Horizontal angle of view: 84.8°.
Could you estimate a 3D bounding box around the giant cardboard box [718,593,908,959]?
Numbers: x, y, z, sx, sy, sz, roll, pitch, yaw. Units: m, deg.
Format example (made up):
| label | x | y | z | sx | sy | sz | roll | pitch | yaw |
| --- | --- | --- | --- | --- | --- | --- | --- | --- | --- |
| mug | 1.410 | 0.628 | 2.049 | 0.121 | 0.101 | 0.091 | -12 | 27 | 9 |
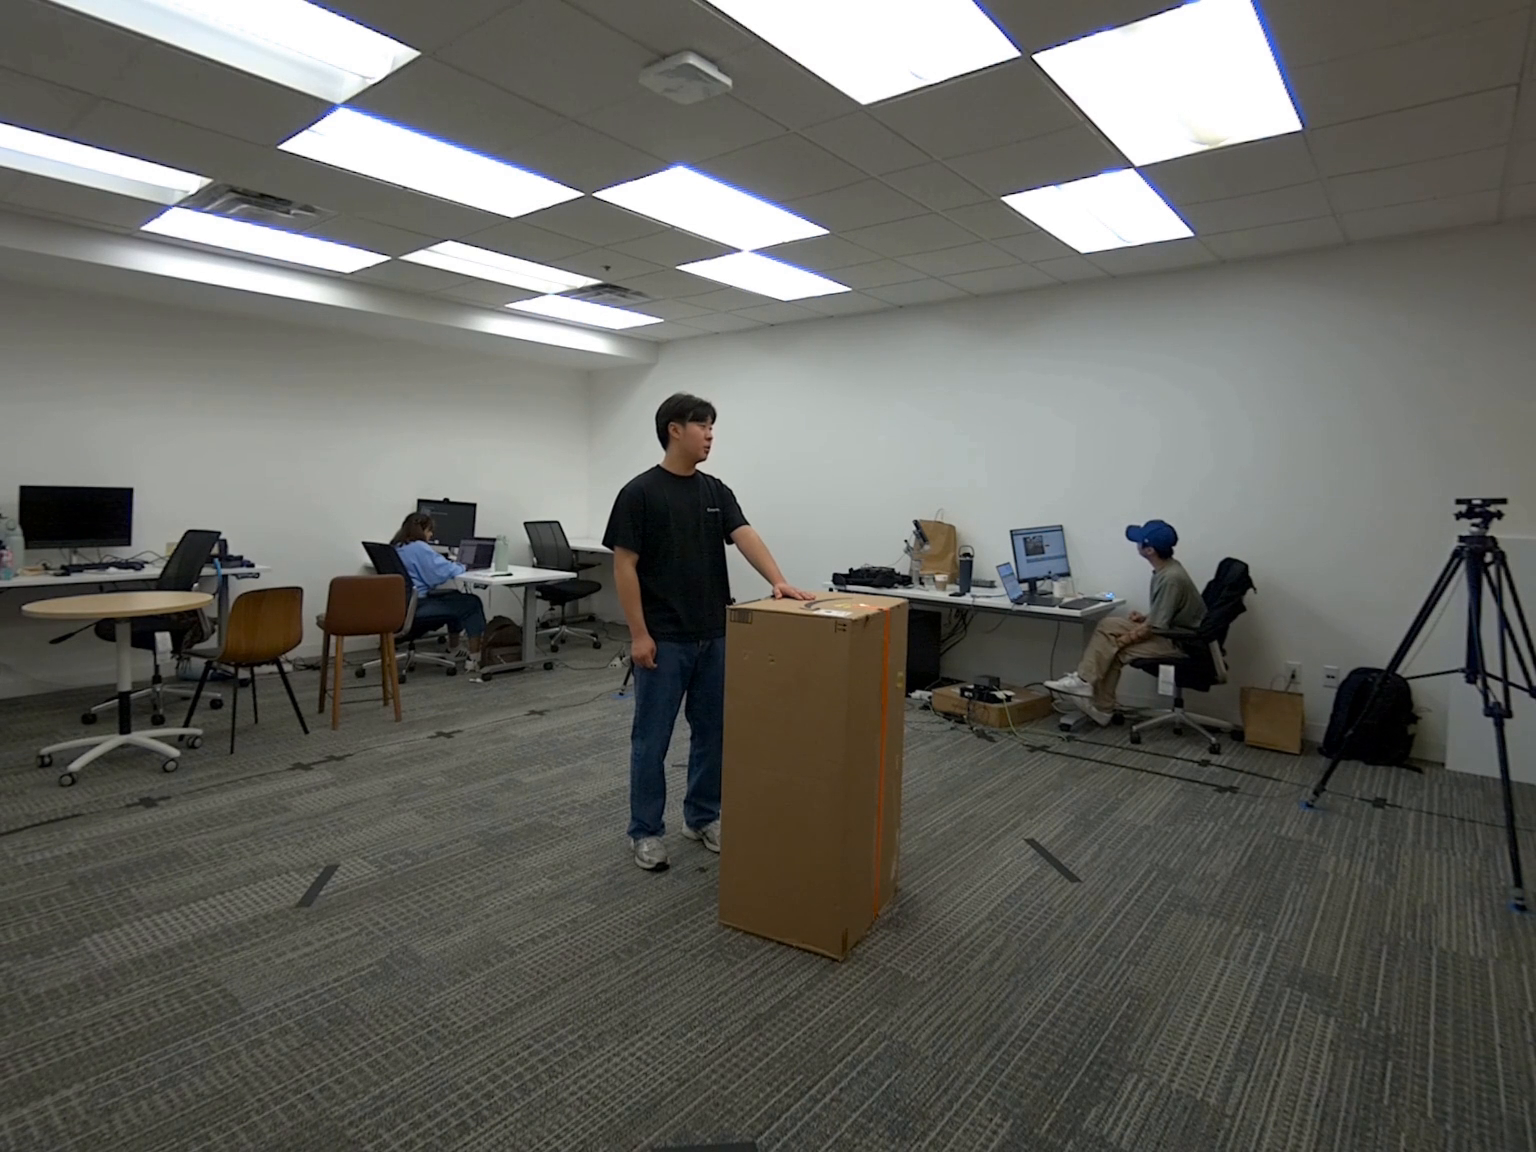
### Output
| label | x | y | z | sx | sy | sz | roll | pitch | yaw |
| --- | --- | --- | --- | --- | --- | --- | --- | --- | --- |
| giant cardboard box | 0.161 | 0.591 | 2.836 | 0.460 | 1.024 | 0.569 | 4 | 4 | 28 |
